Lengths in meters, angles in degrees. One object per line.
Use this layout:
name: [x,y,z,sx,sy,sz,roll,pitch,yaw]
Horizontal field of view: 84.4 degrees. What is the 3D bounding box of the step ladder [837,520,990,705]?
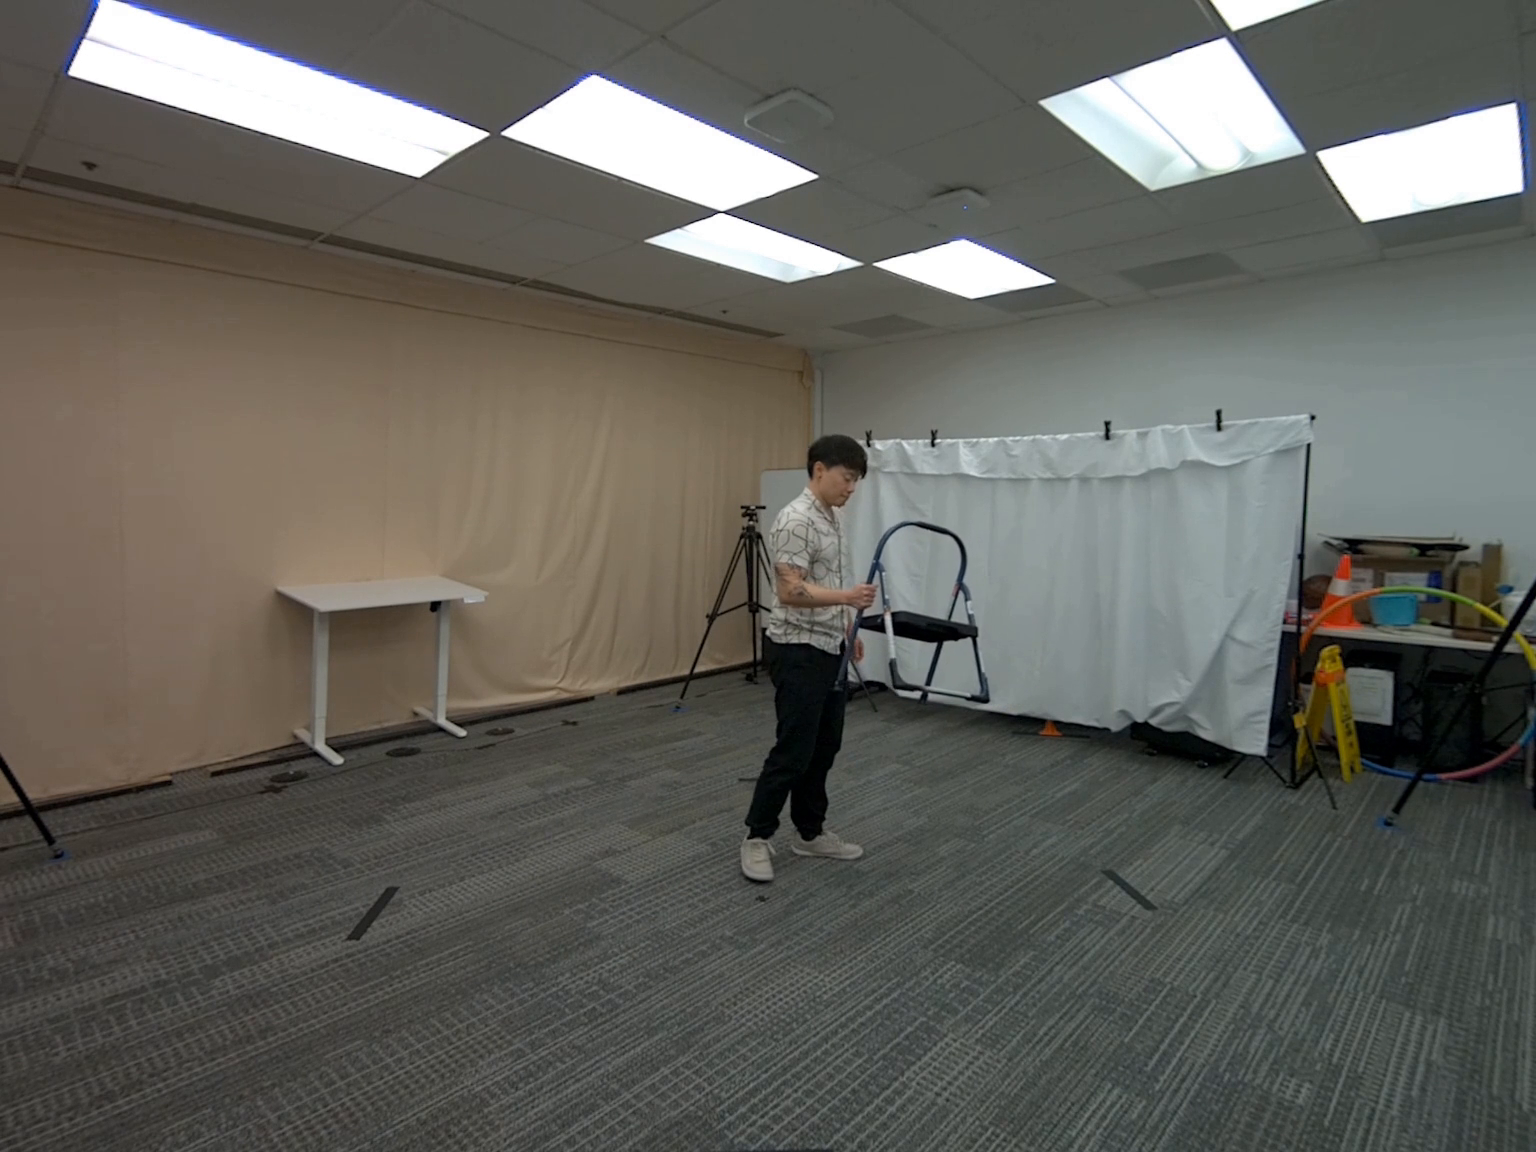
step ladder: [0.523,0.125,2.981,0.418,0.610,0.357,11,-14,-29]
